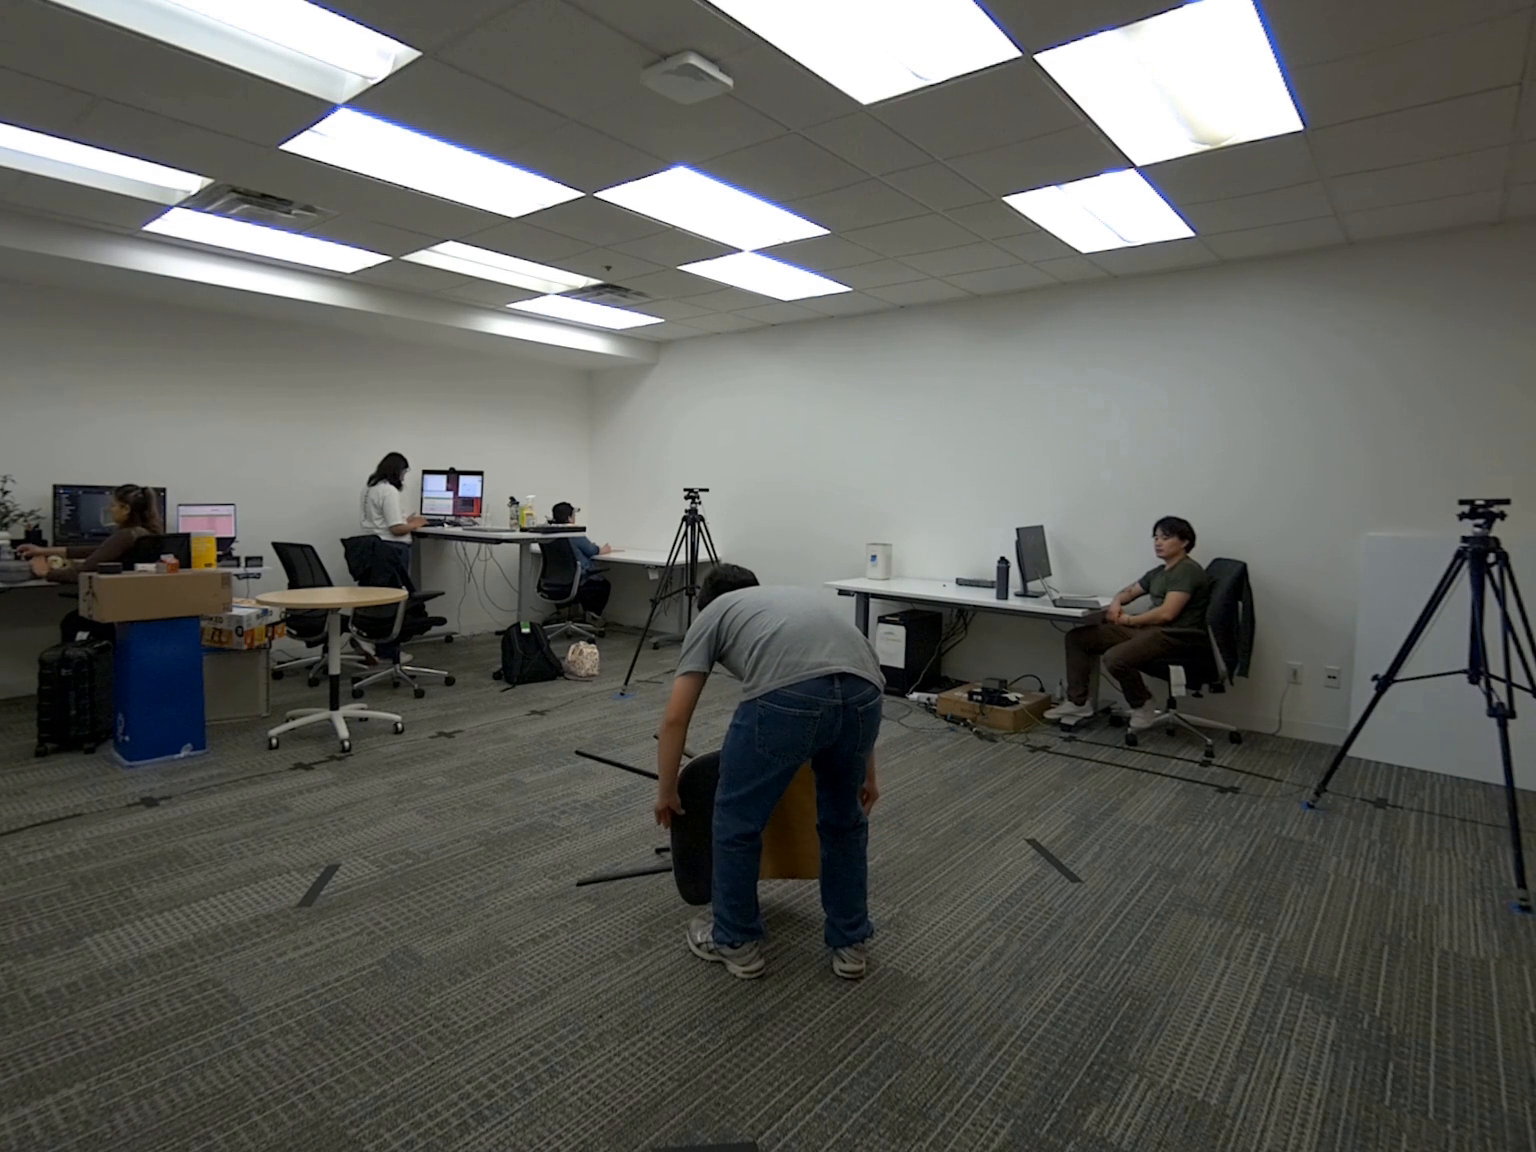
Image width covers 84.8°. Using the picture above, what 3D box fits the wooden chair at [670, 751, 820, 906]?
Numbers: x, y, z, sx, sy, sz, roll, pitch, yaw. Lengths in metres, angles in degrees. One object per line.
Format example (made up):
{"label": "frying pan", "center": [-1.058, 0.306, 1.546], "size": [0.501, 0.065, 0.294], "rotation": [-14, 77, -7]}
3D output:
{"label": "wooden chair", "center": [-0.188, 0.808, 2.849], "size": [0.899, 0.480, 0.508], "rotation": [-2, -4, 27]}
